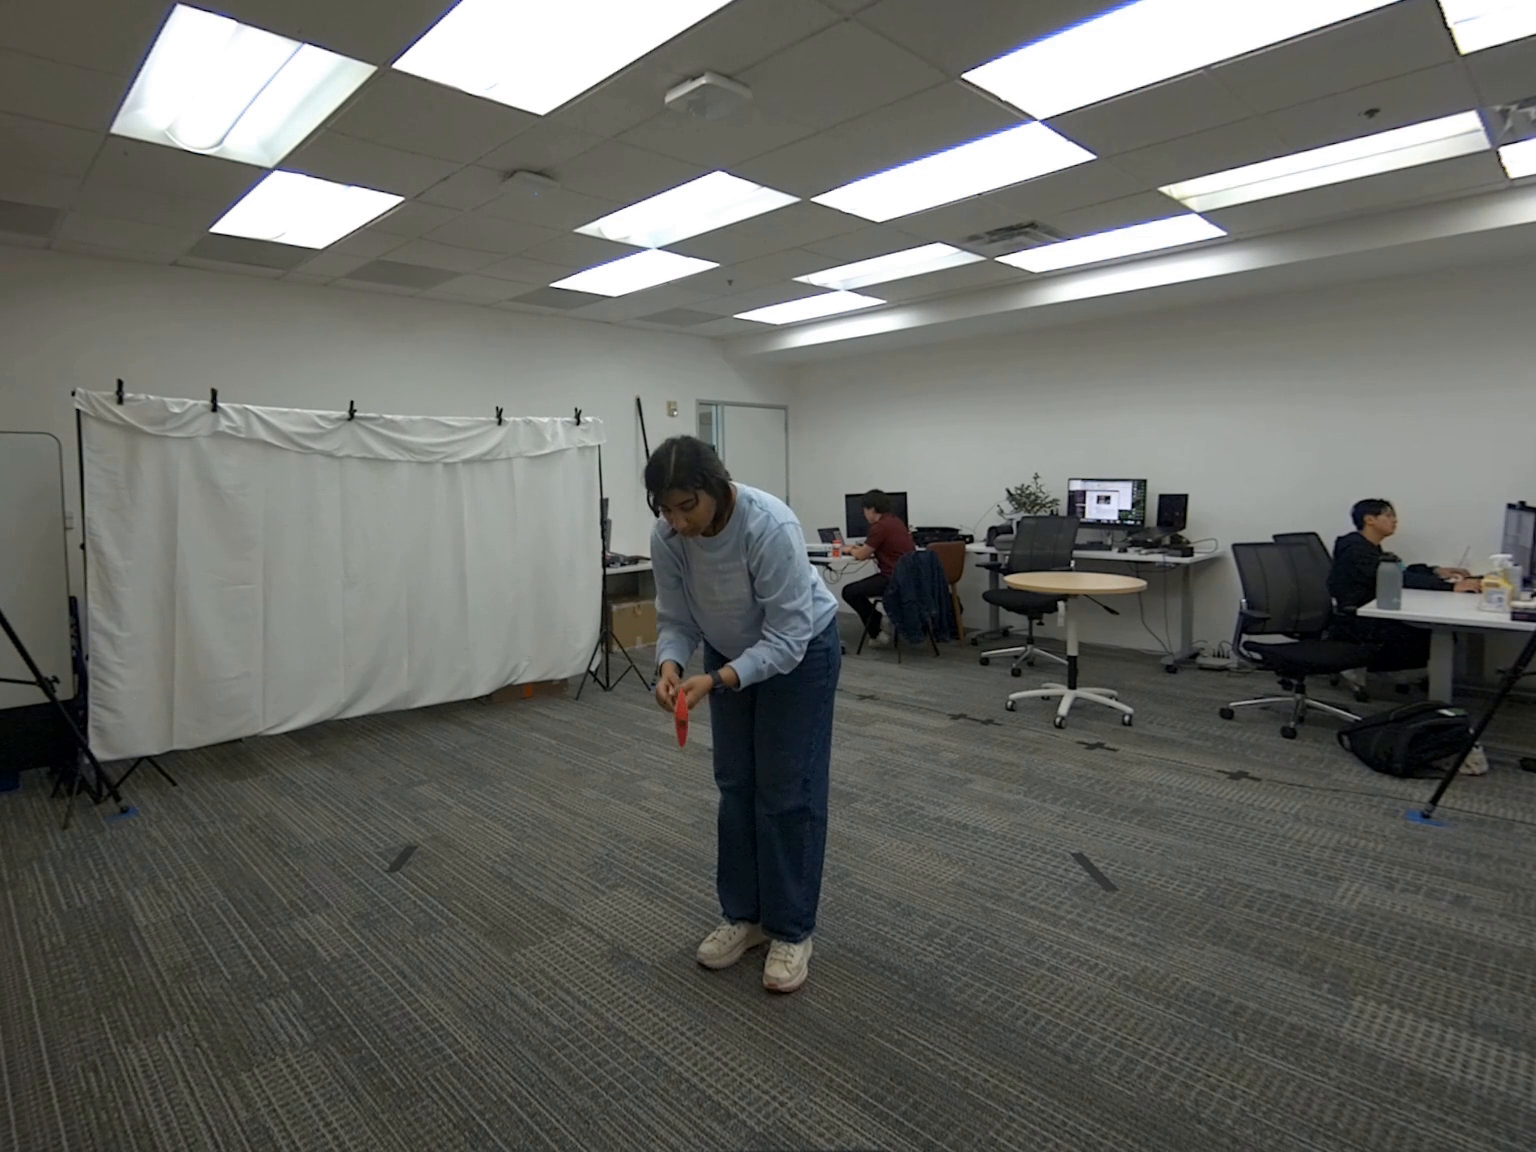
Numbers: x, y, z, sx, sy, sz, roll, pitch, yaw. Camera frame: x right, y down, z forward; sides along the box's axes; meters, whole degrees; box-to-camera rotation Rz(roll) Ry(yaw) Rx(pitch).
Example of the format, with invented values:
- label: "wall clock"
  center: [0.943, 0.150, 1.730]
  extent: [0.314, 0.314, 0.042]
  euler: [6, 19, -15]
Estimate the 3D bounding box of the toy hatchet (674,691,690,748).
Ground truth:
- label: "toy hatchet"
  center: [-0.194, 0.331, 2.023]
  extent: [0.029, 0.132, 0.268]
  euler: [-5, -7, 0]
